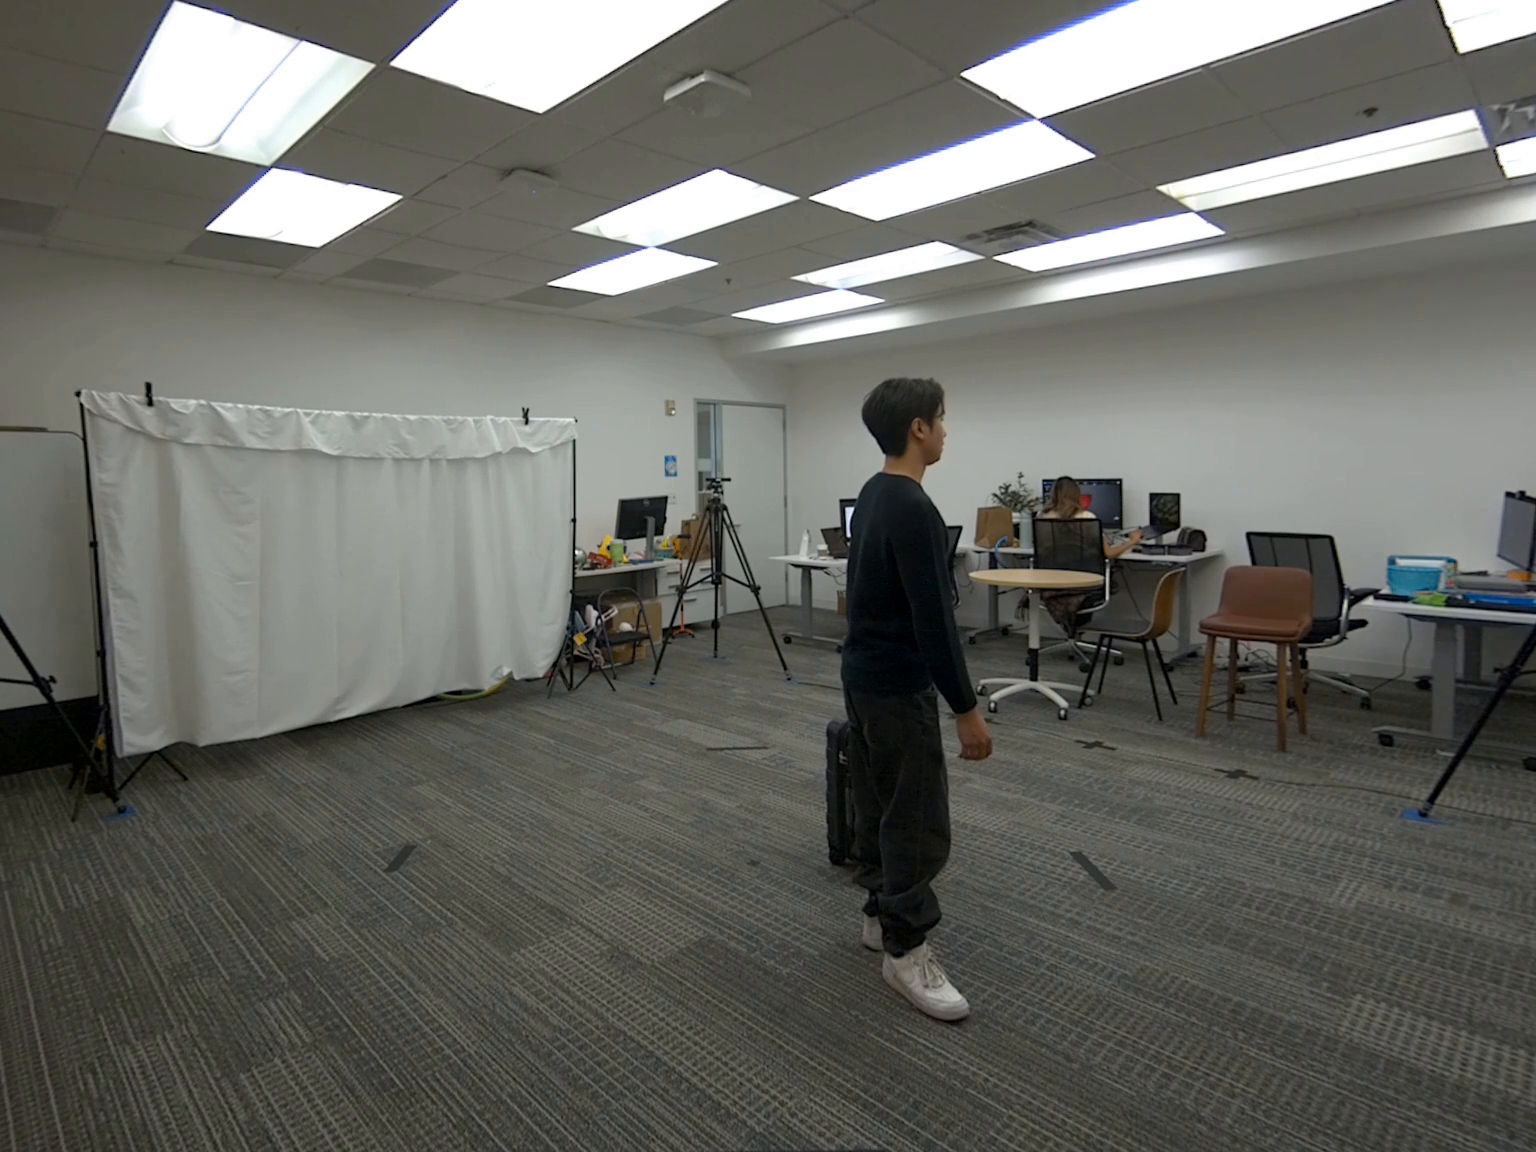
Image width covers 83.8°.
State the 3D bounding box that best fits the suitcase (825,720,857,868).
[{"bbox_3d":[0.405,0.566,3.066,0.375,0.978,0.263,-3,1,-31],"label":"suitcase"}]
